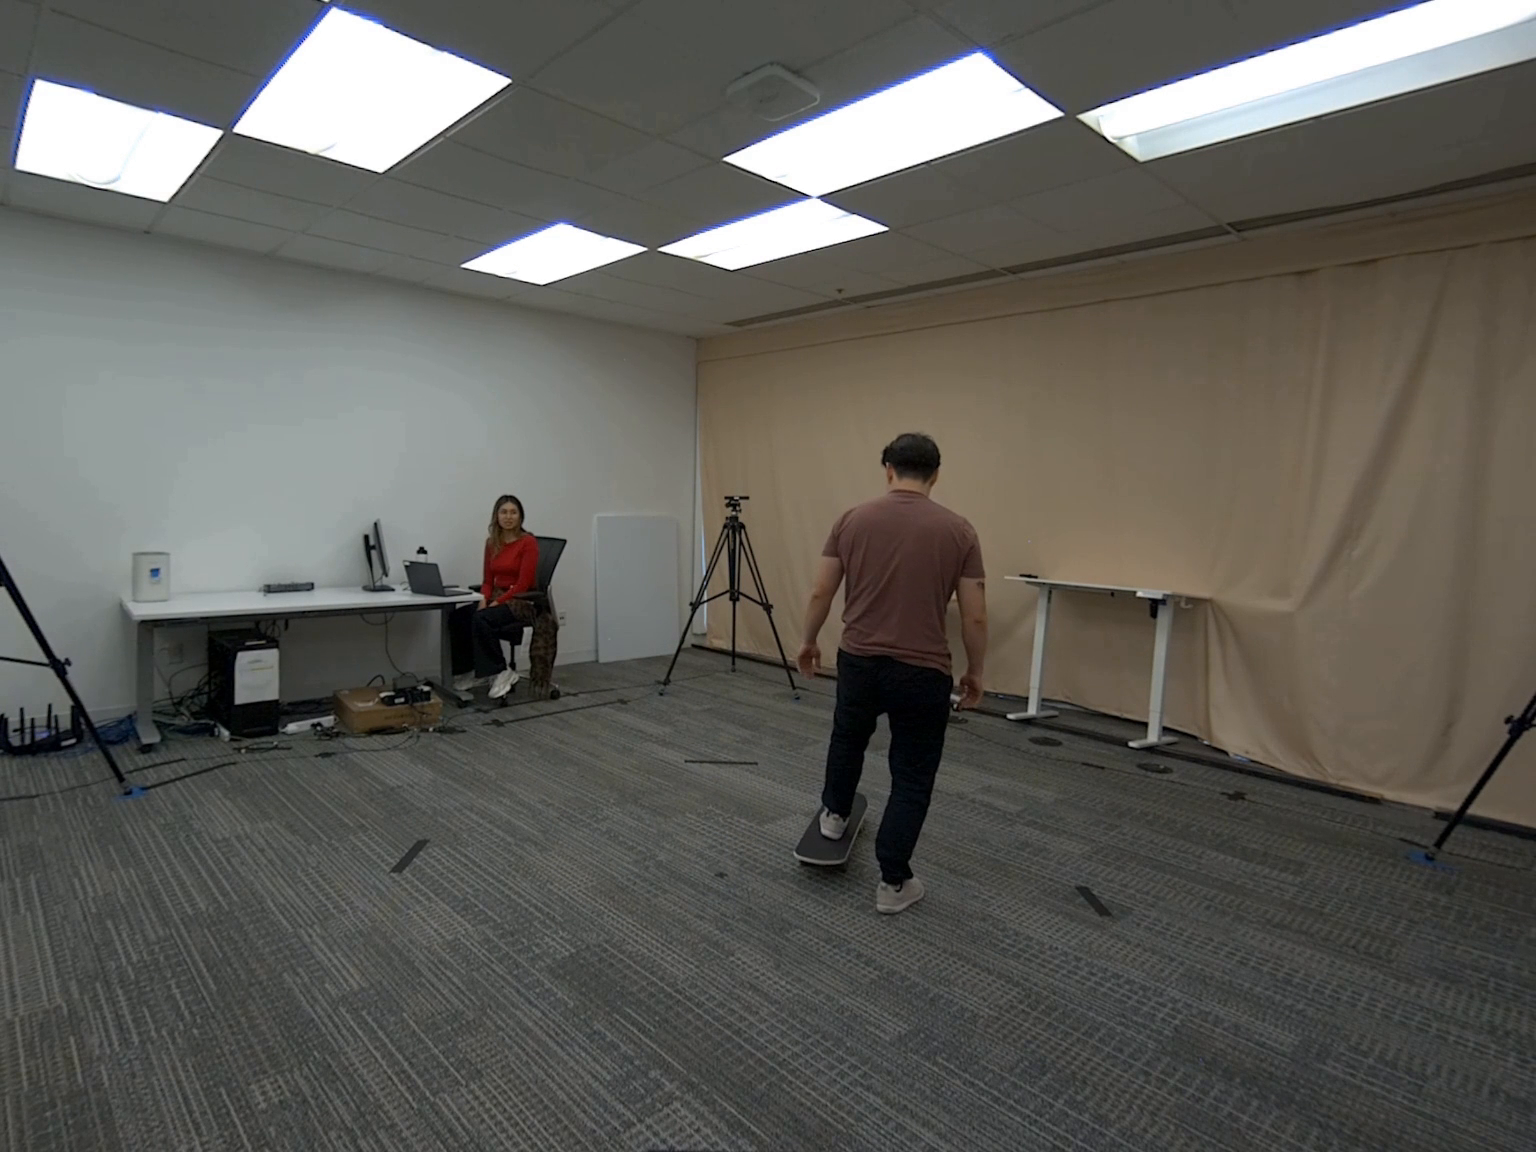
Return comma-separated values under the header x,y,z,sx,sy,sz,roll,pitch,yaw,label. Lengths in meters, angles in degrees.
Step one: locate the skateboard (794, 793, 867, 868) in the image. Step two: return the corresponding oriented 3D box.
x,y,z,sx,sy,sz,roll,pitch,yaw,label
0.252,1.033,3.358,0.196,0.110,0.777,3,5,15,skateboard
